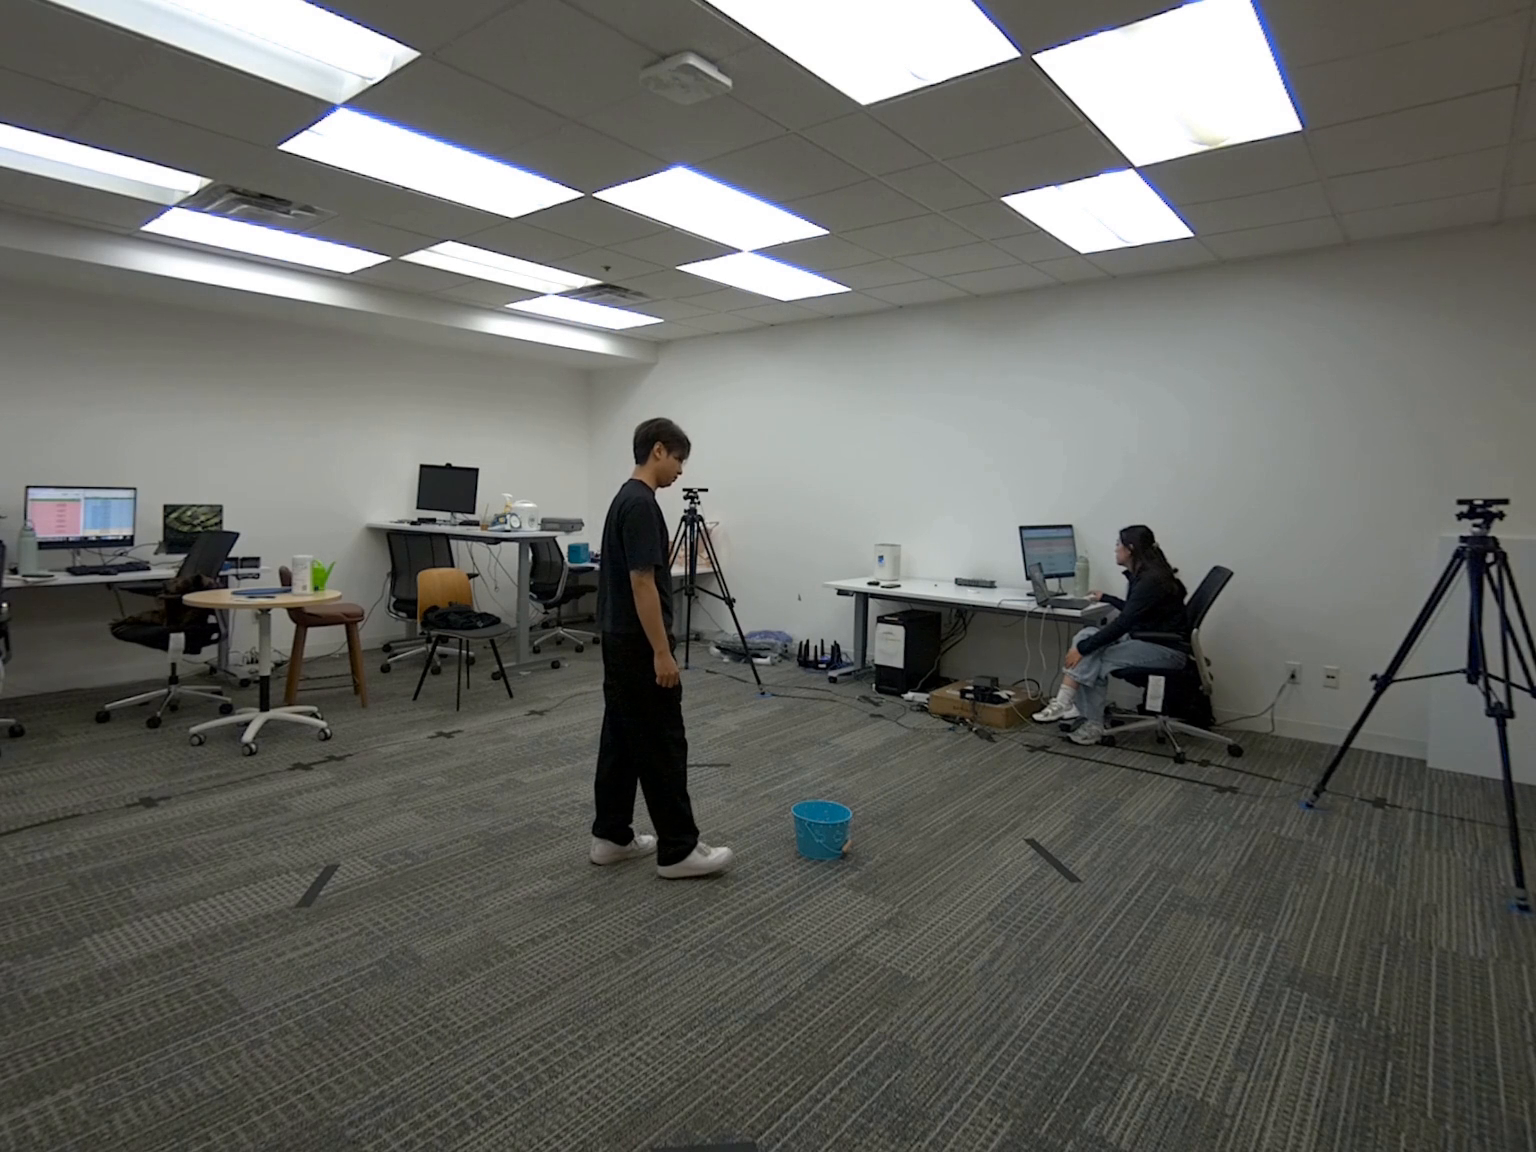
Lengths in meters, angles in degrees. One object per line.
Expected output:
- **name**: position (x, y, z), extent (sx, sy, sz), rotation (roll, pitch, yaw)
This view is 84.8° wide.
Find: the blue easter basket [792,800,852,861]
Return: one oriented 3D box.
- **blue easter basket**: position (0.200, 0.981, 3.292), extent (0.243, 0.155, 0.245), rotation (1, 5, -2)
